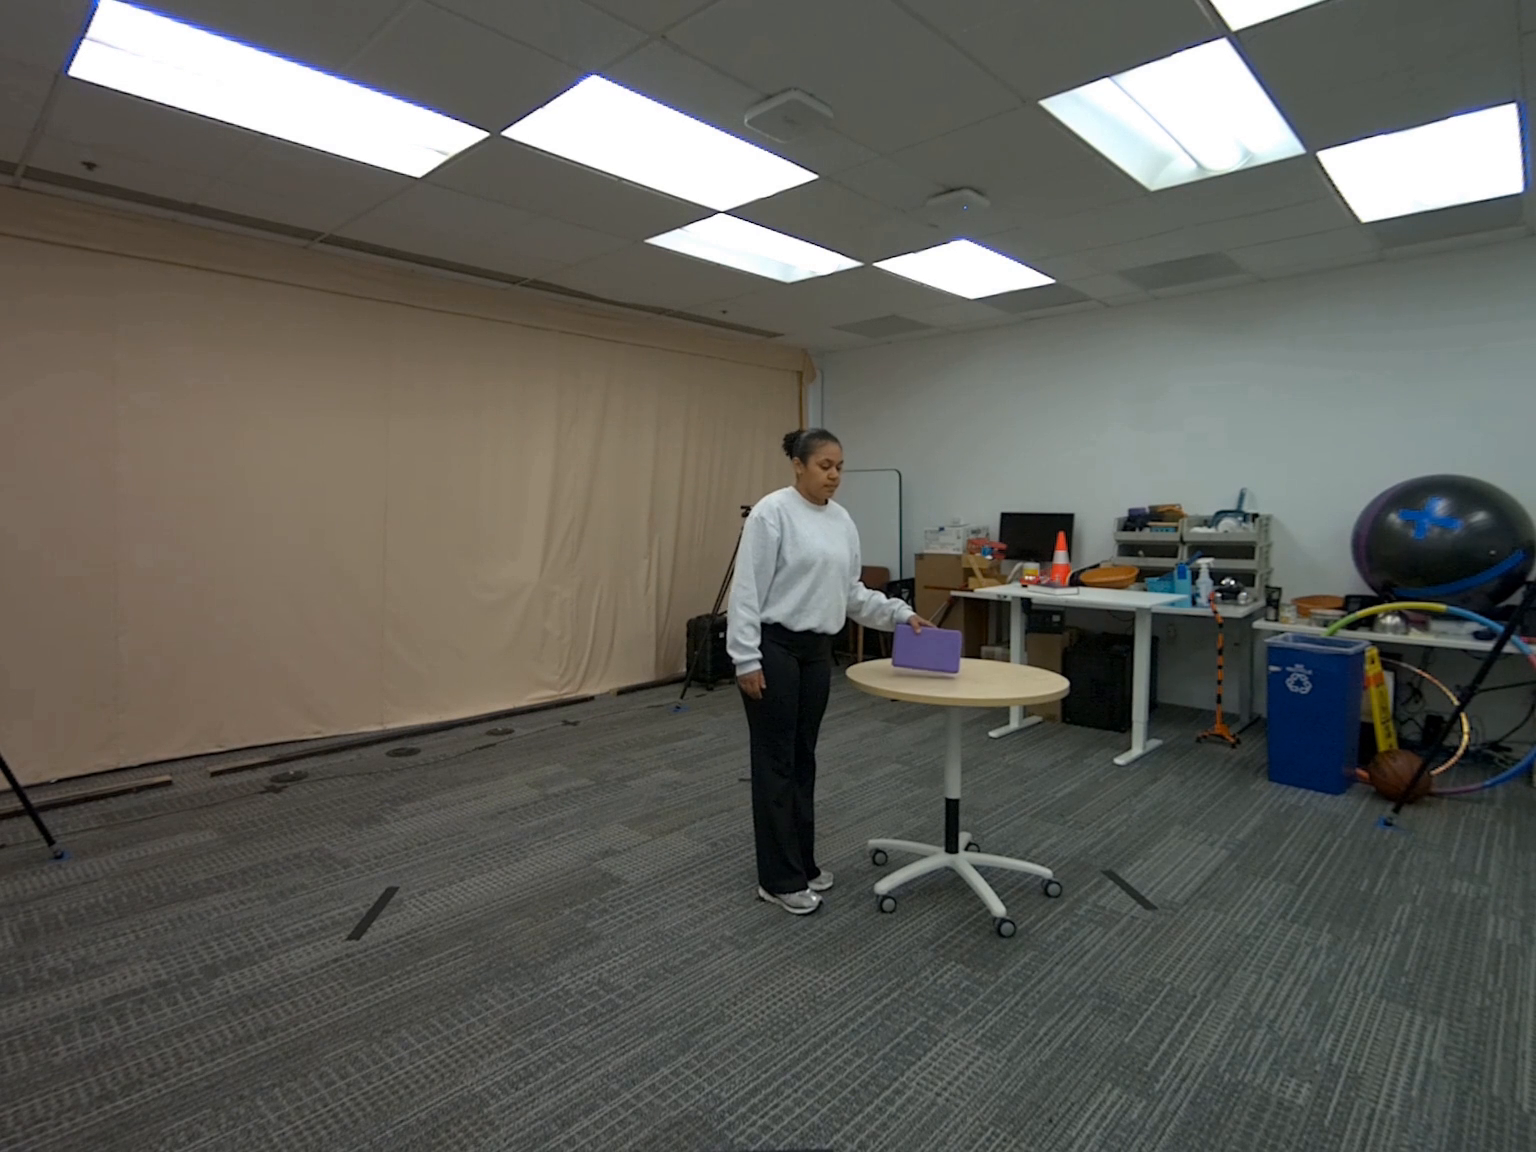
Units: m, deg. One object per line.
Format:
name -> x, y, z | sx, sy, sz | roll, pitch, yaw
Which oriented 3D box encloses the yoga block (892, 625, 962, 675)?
yoga block -> 0.568, 0.260, 2.969 | 0.232, 0.149, 0.075 | 6, -5, 11
